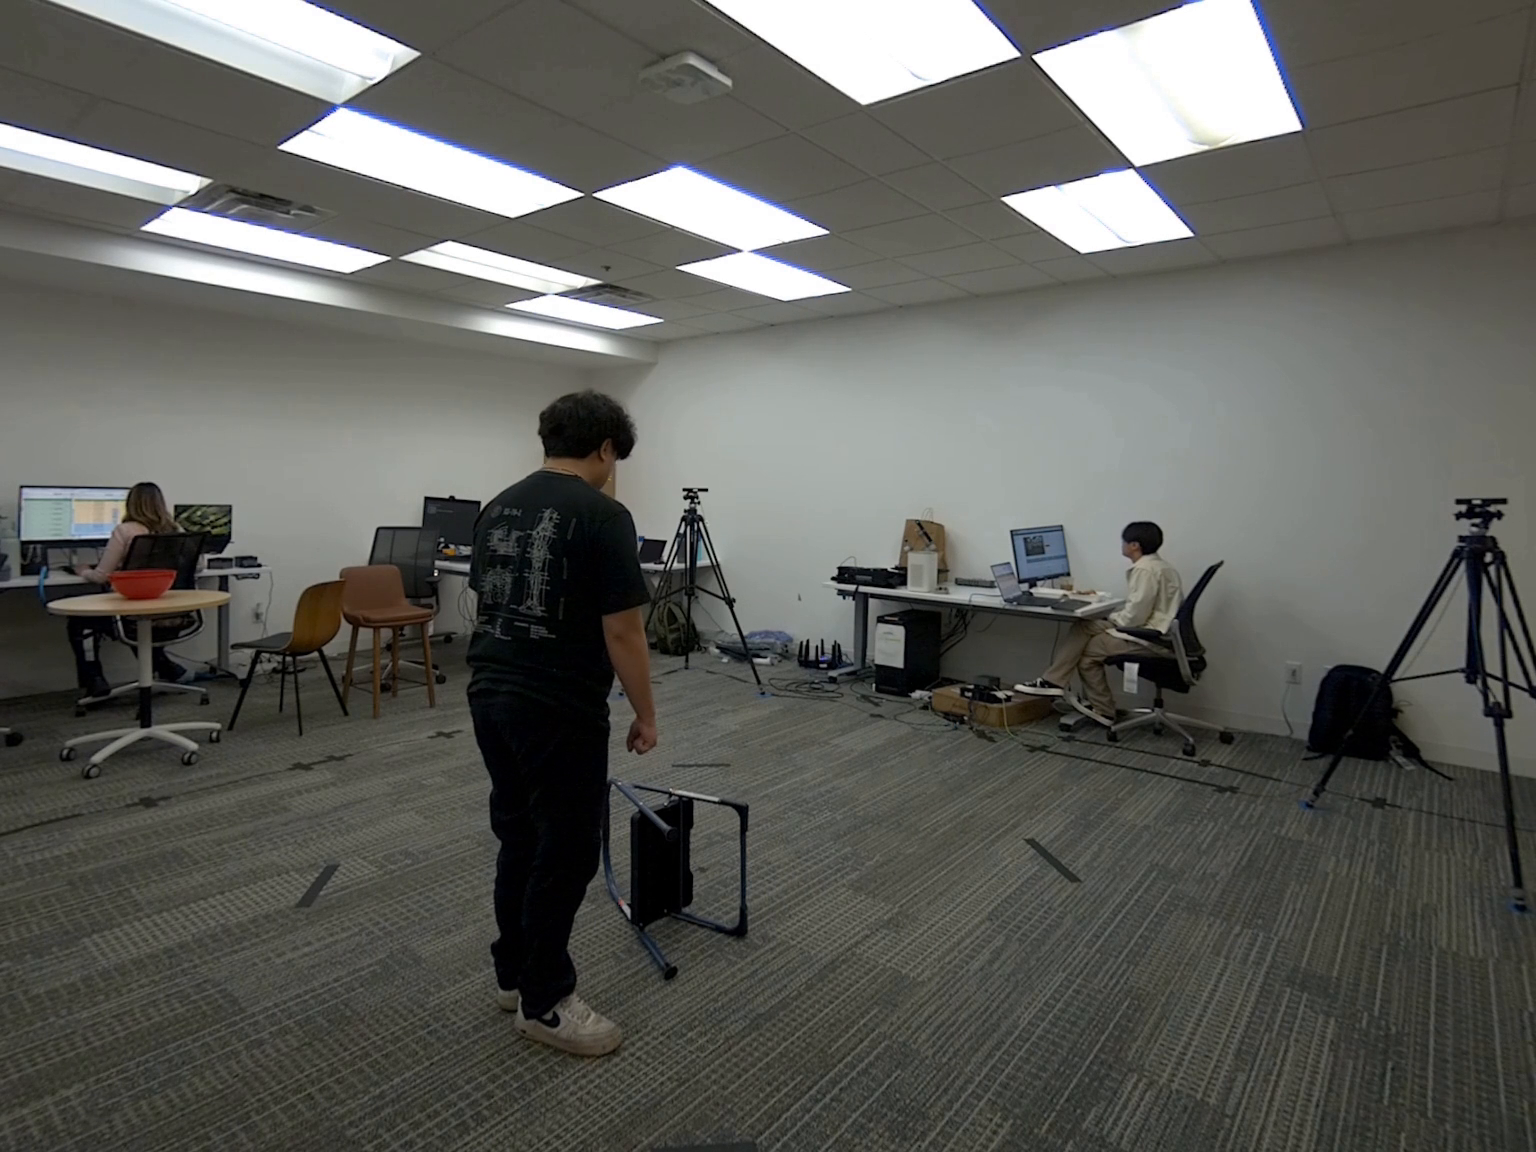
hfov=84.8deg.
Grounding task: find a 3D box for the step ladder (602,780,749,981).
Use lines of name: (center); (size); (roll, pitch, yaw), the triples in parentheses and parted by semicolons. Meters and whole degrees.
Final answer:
step ladder: (-0.399, 0.892, 2.717); (0.626, 0.430, 0.338); (4, 4, 43)
